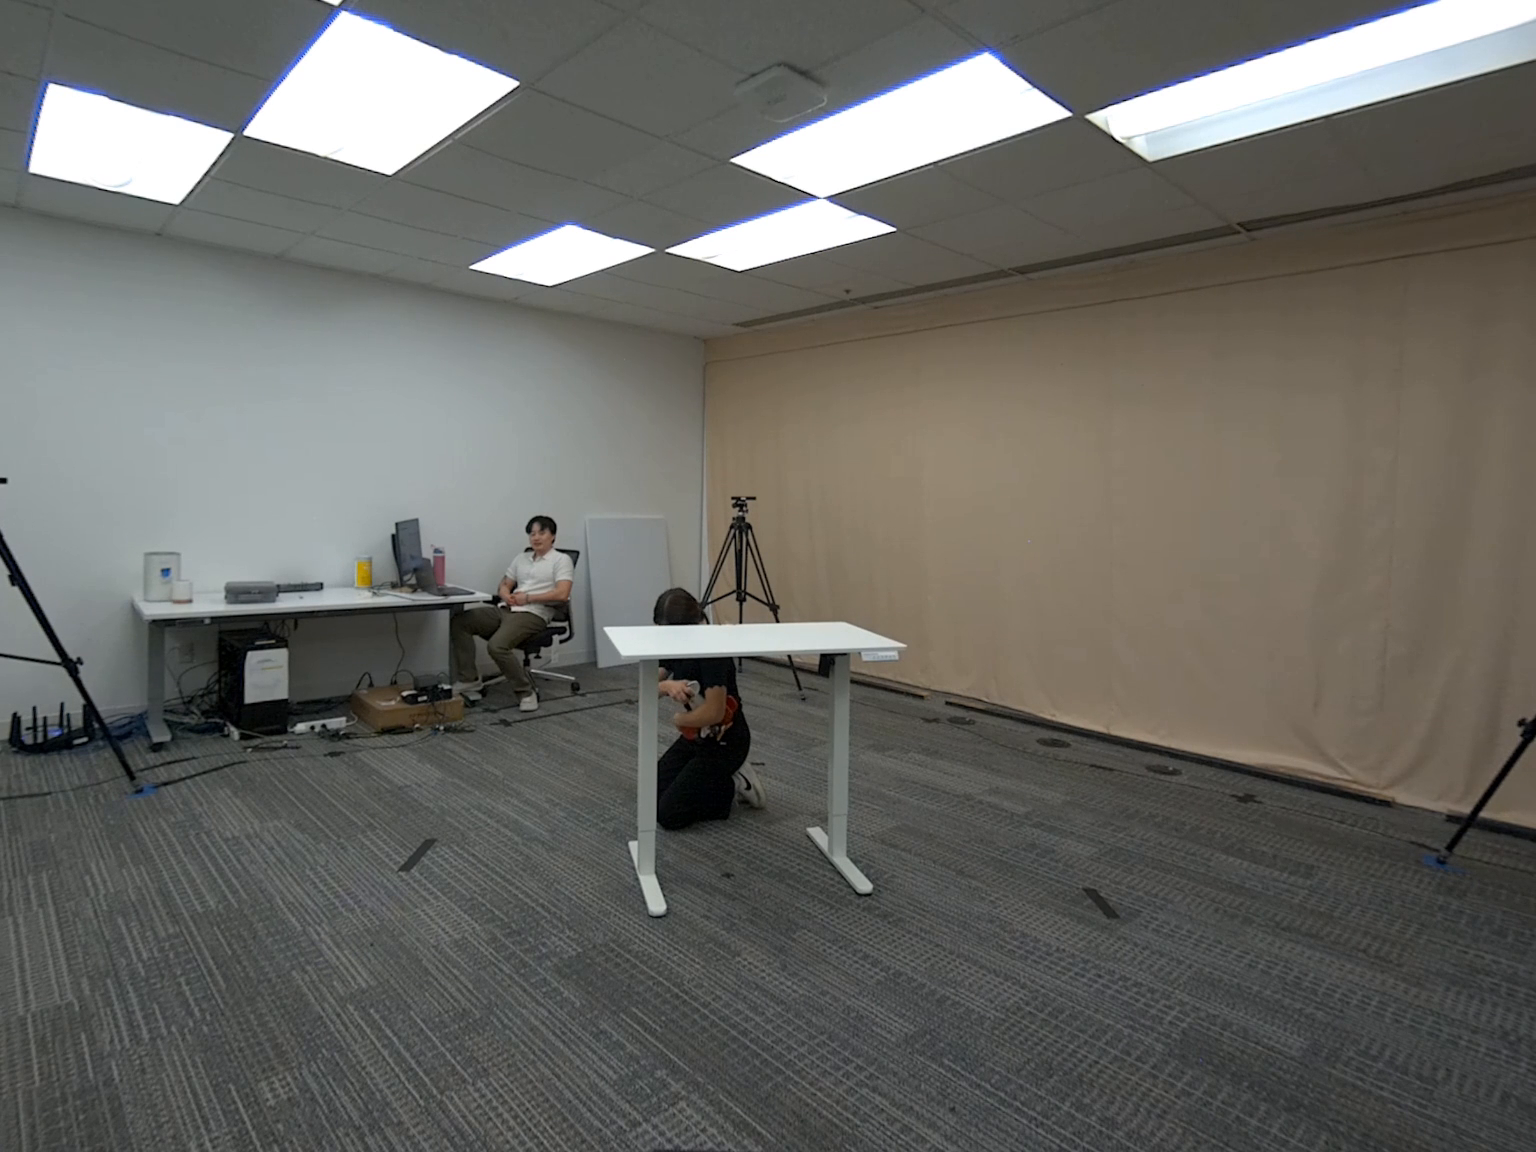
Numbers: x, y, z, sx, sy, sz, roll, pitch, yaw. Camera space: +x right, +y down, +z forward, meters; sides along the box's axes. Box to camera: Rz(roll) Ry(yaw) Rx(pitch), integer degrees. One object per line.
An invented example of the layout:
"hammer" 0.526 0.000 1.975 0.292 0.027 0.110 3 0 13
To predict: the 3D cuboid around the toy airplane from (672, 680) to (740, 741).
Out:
"toy airplane" -0.278 0.560 3.542 0.255 0.259 0.154 -2 3 21
